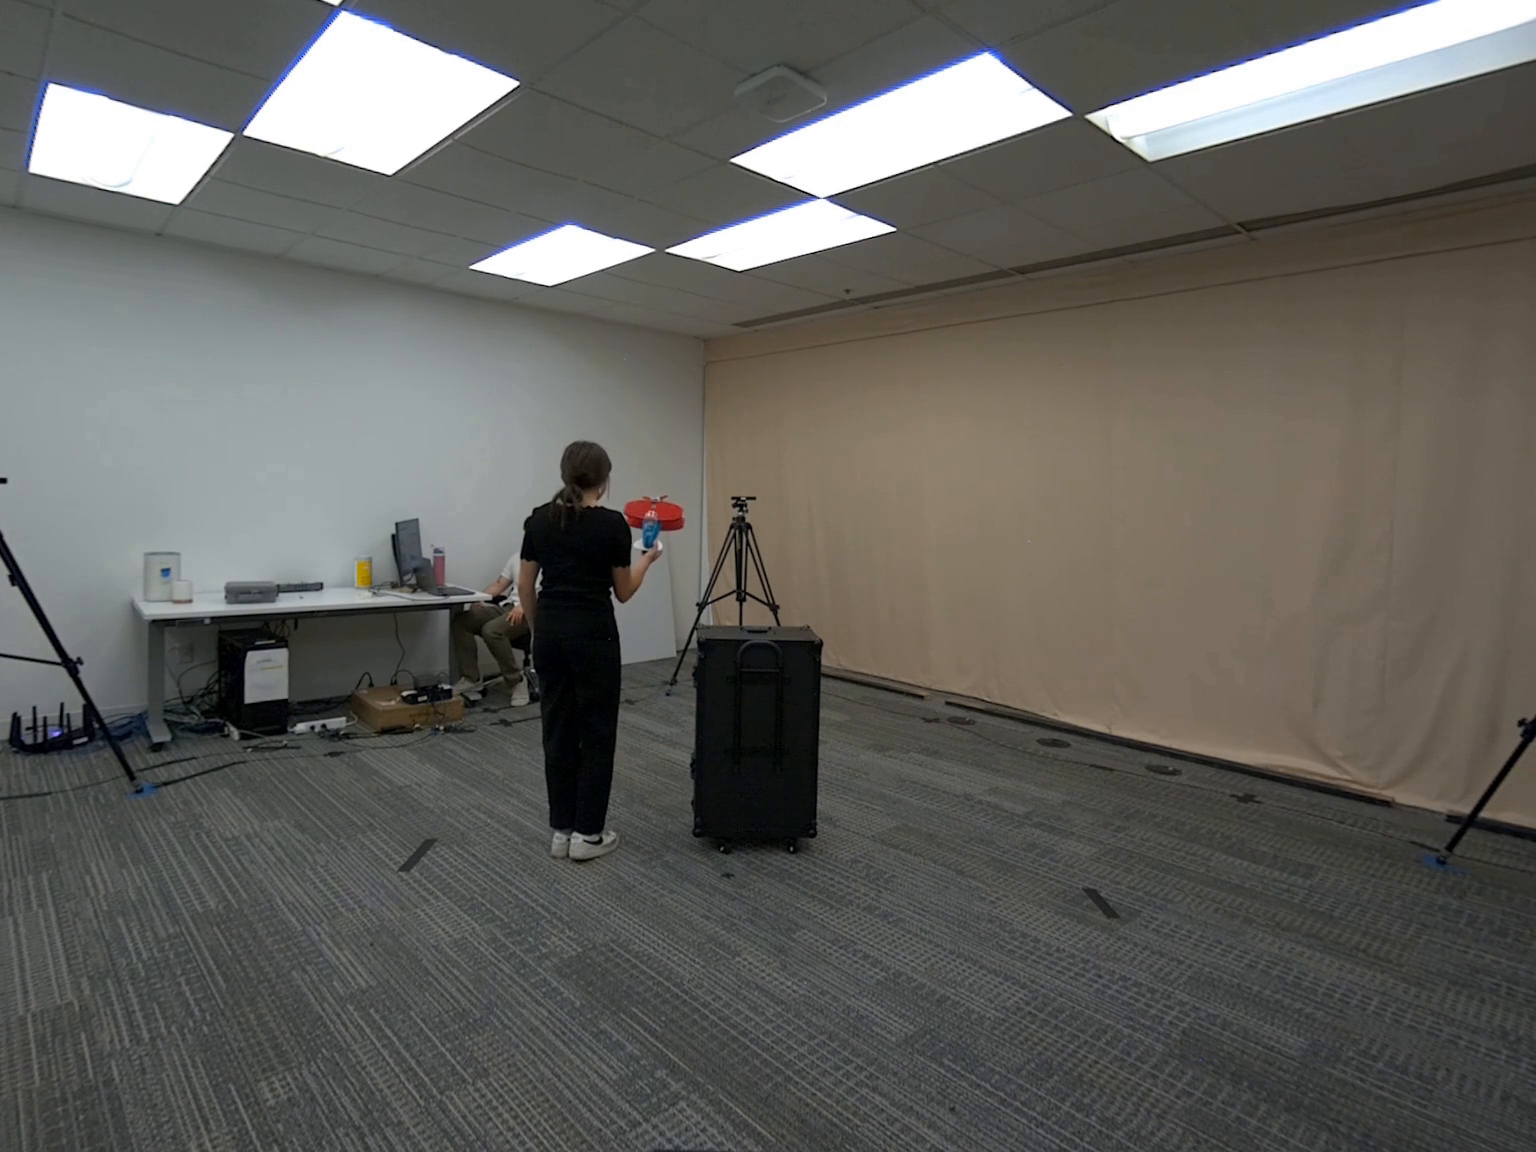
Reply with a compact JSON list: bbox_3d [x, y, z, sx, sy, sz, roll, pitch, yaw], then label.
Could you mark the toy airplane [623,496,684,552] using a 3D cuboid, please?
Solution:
[{"bbox_3d":[-0.482,-0.202,3.612,0.249,0.153,0.267,-16,45,-17],"label":"toy airplane"}]
